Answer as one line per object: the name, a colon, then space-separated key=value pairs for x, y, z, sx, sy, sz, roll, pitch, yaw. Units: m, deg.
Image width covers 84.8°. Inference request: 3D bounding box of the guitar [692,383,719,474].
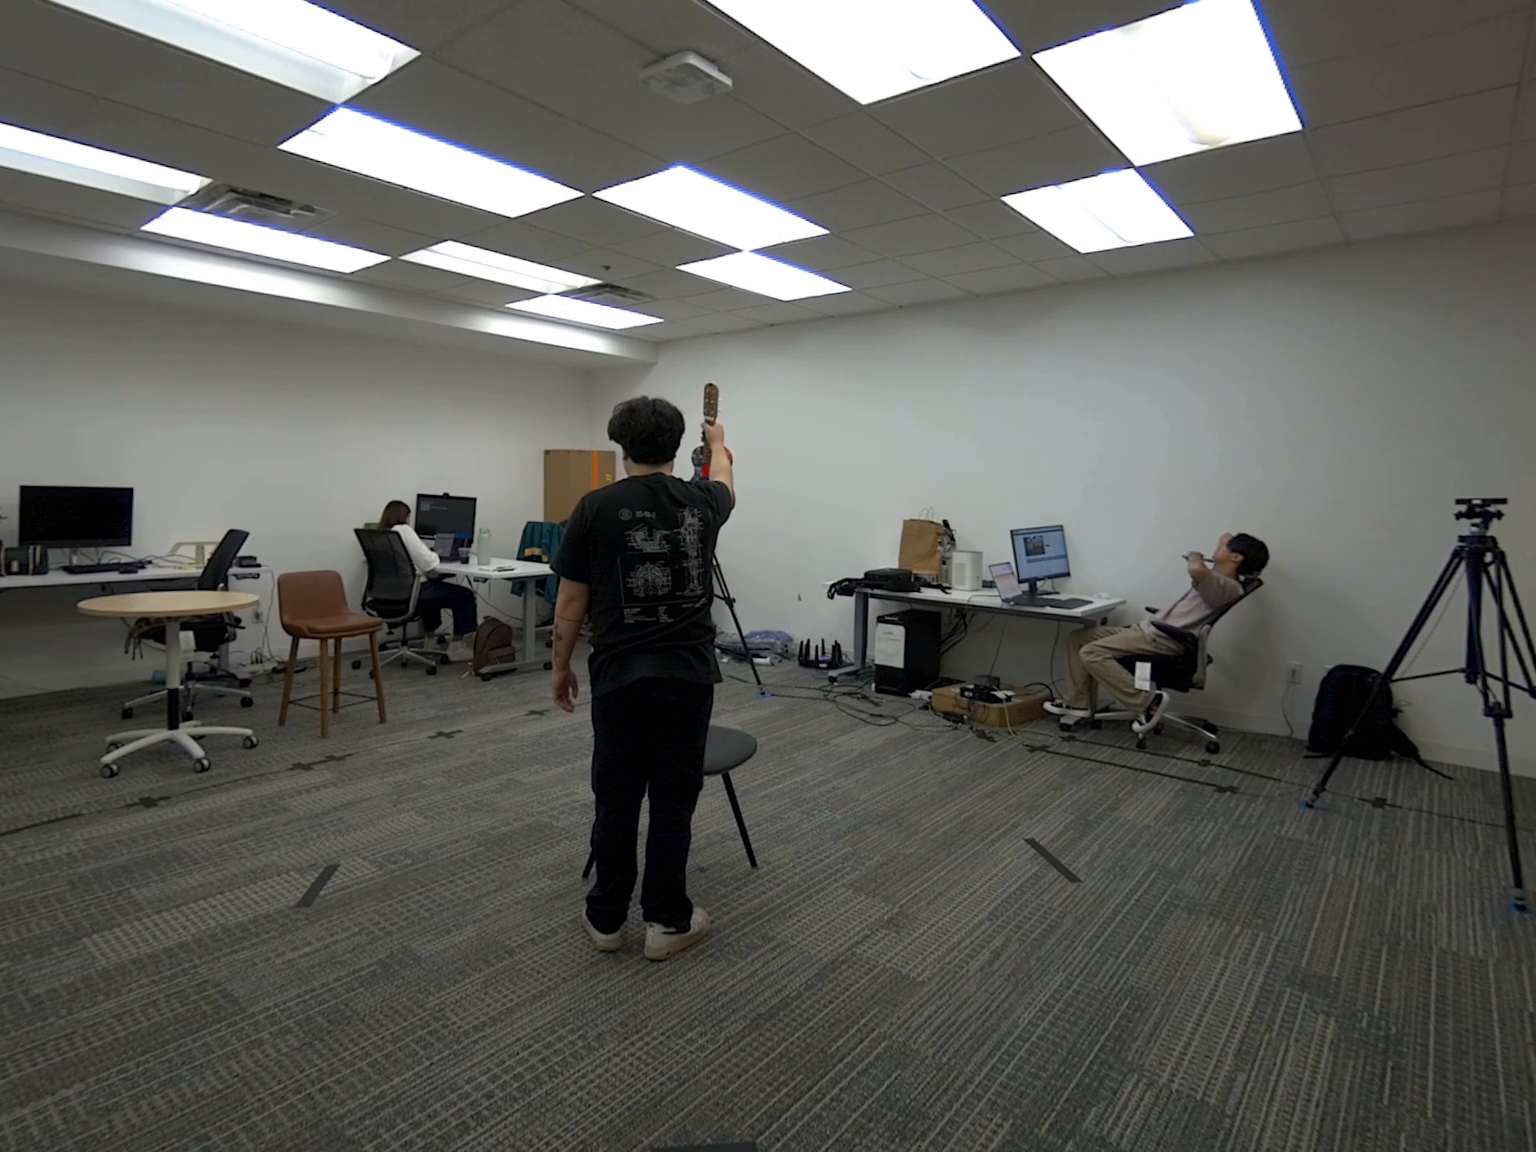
guitar: x=-0.196 y=-0.455 z=3.121 sx=0.199 sy=0.490 sz=0.070 roll=25 pitch=26 yaw=22
